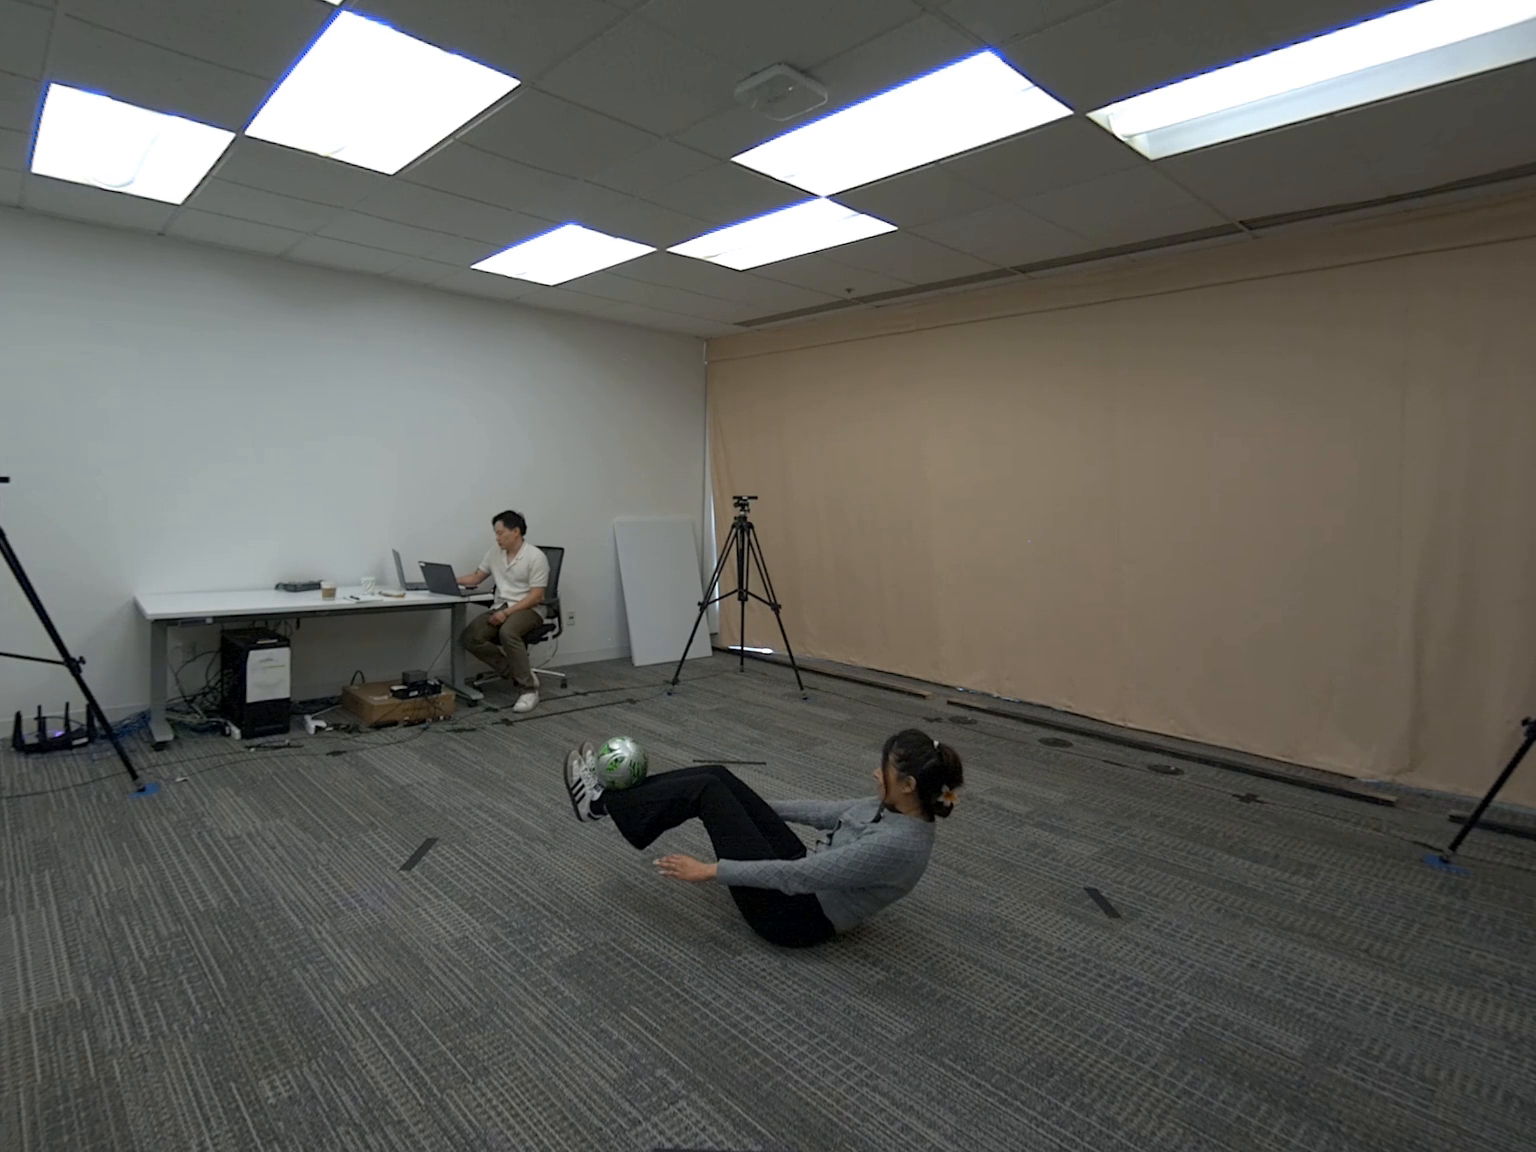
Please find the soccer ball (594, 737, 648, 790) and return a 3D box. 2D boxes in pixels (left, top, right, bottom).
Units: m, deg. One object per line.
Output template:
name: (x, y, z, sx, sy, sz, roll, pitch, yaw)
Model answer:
soccer ball: (-0.518, 0.655, 2.916, 0.187, 0.187, 0.188, 1, 4, -1)
